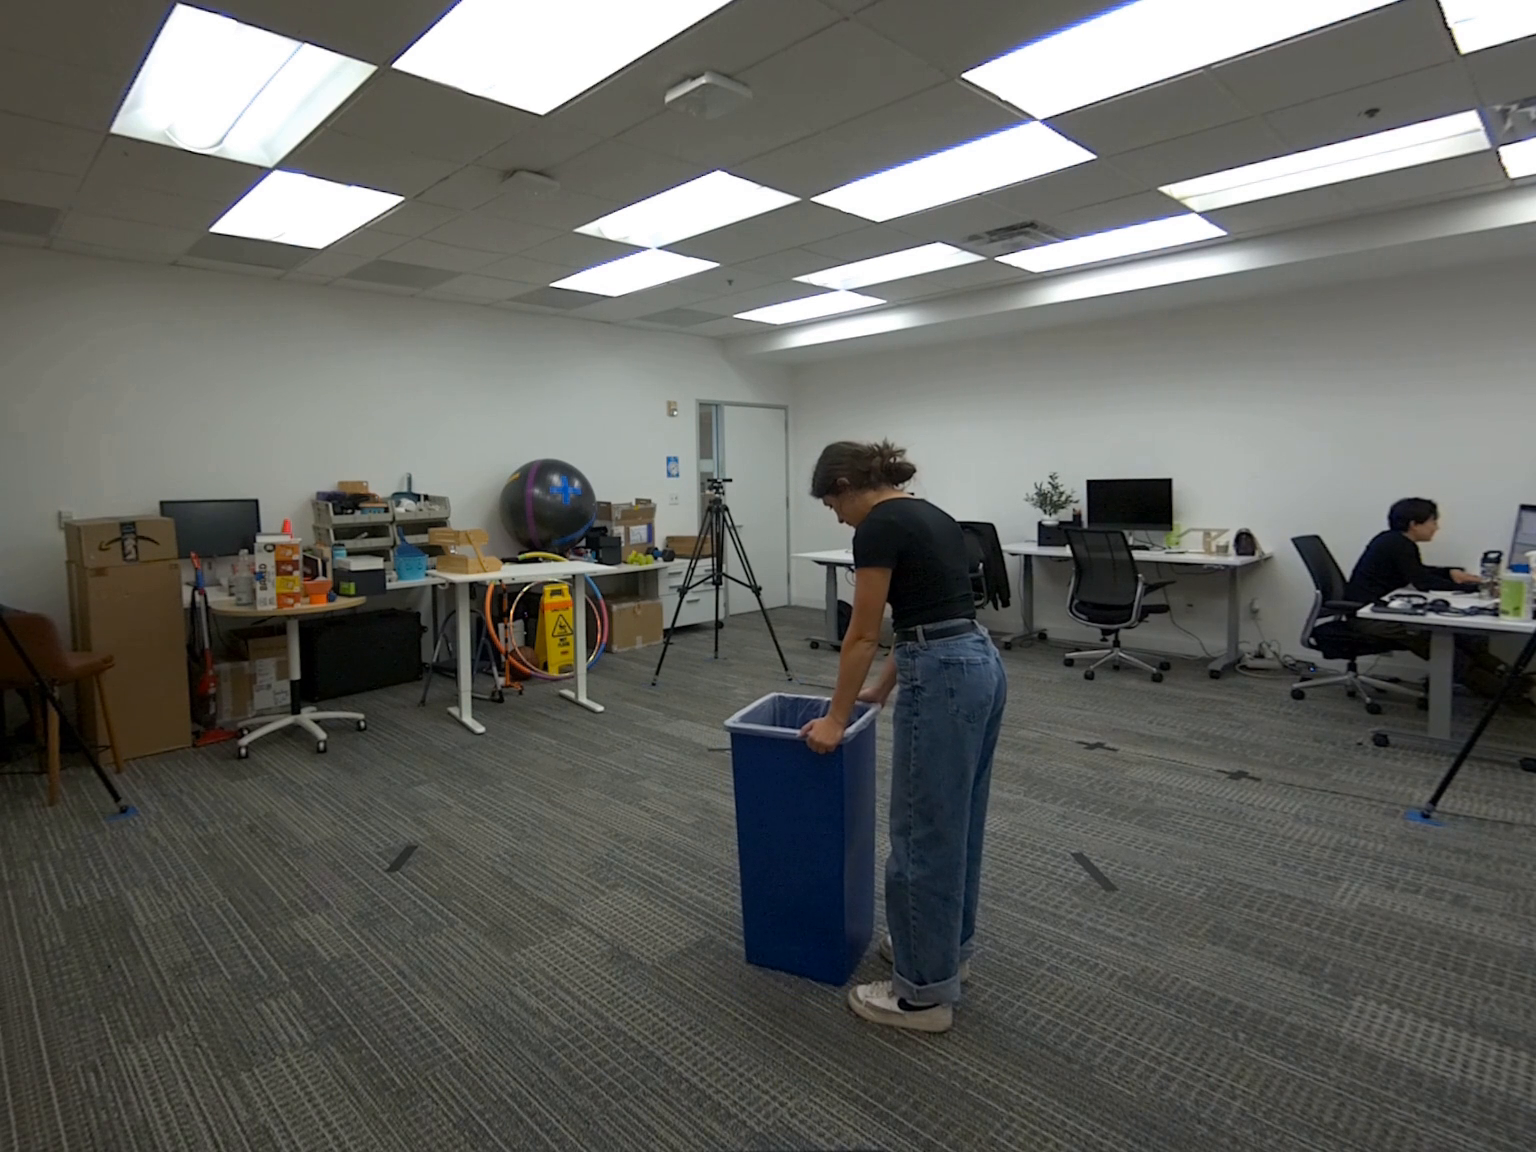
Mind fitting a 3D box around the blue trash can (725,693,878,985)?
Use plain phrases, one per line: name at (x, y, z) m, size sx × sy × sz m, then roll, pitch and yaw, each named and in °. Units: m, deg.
blue trash can at (0.123, 0.752, 2.513) m, size 0.387 × 0.711 × 0.367 m, roll 0°, pitch 4°, yaw 25°
